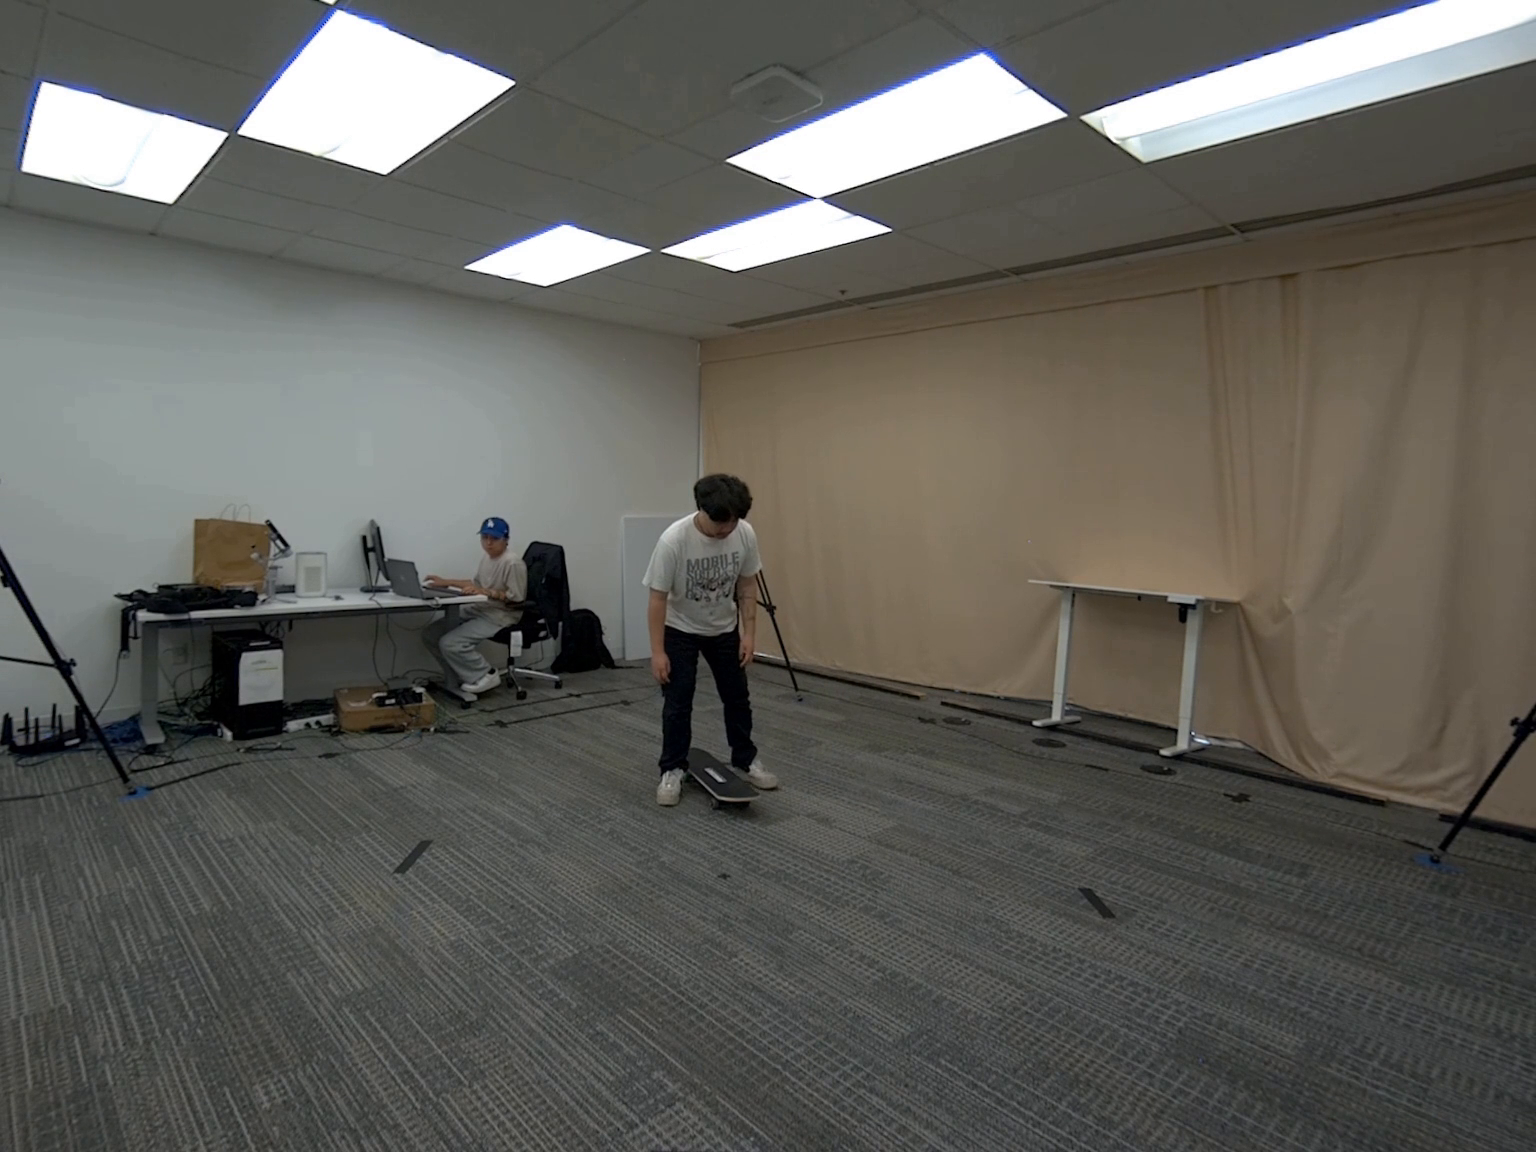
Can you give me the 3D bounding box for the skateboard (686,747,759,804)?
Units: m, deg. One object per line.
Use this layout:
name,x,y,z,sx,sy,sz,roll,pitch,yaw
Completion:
skateboard,-0.269,0.976,3.997,0.190,0.110,0.801,-1,5,-24
